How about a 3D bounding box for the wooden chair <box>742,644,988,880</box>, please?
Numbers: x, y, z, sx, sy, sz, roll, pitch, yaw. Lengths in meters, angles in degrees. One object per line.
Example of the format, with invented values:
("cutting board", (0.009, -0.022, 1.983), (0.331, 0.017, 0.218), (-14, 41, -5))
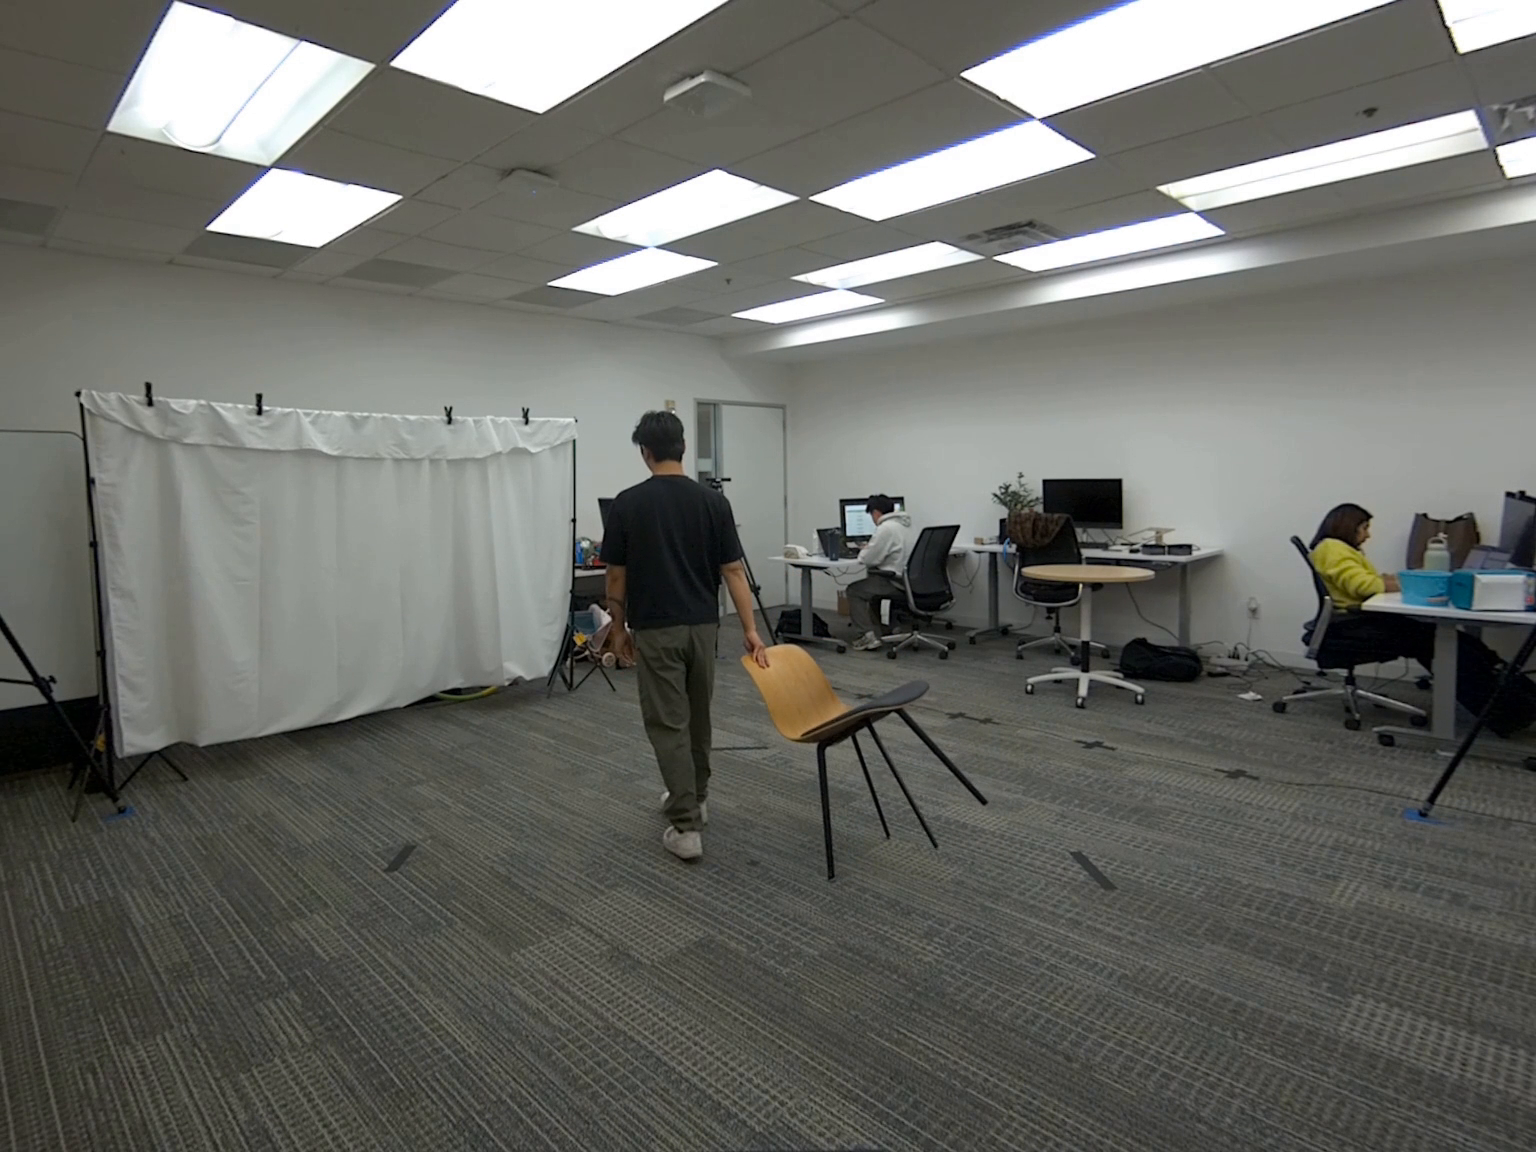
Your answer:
("wooden chair", (0.331, 0.547, 3.101), (0.526, 0.895, 0.466), (-38, -19, 33))
